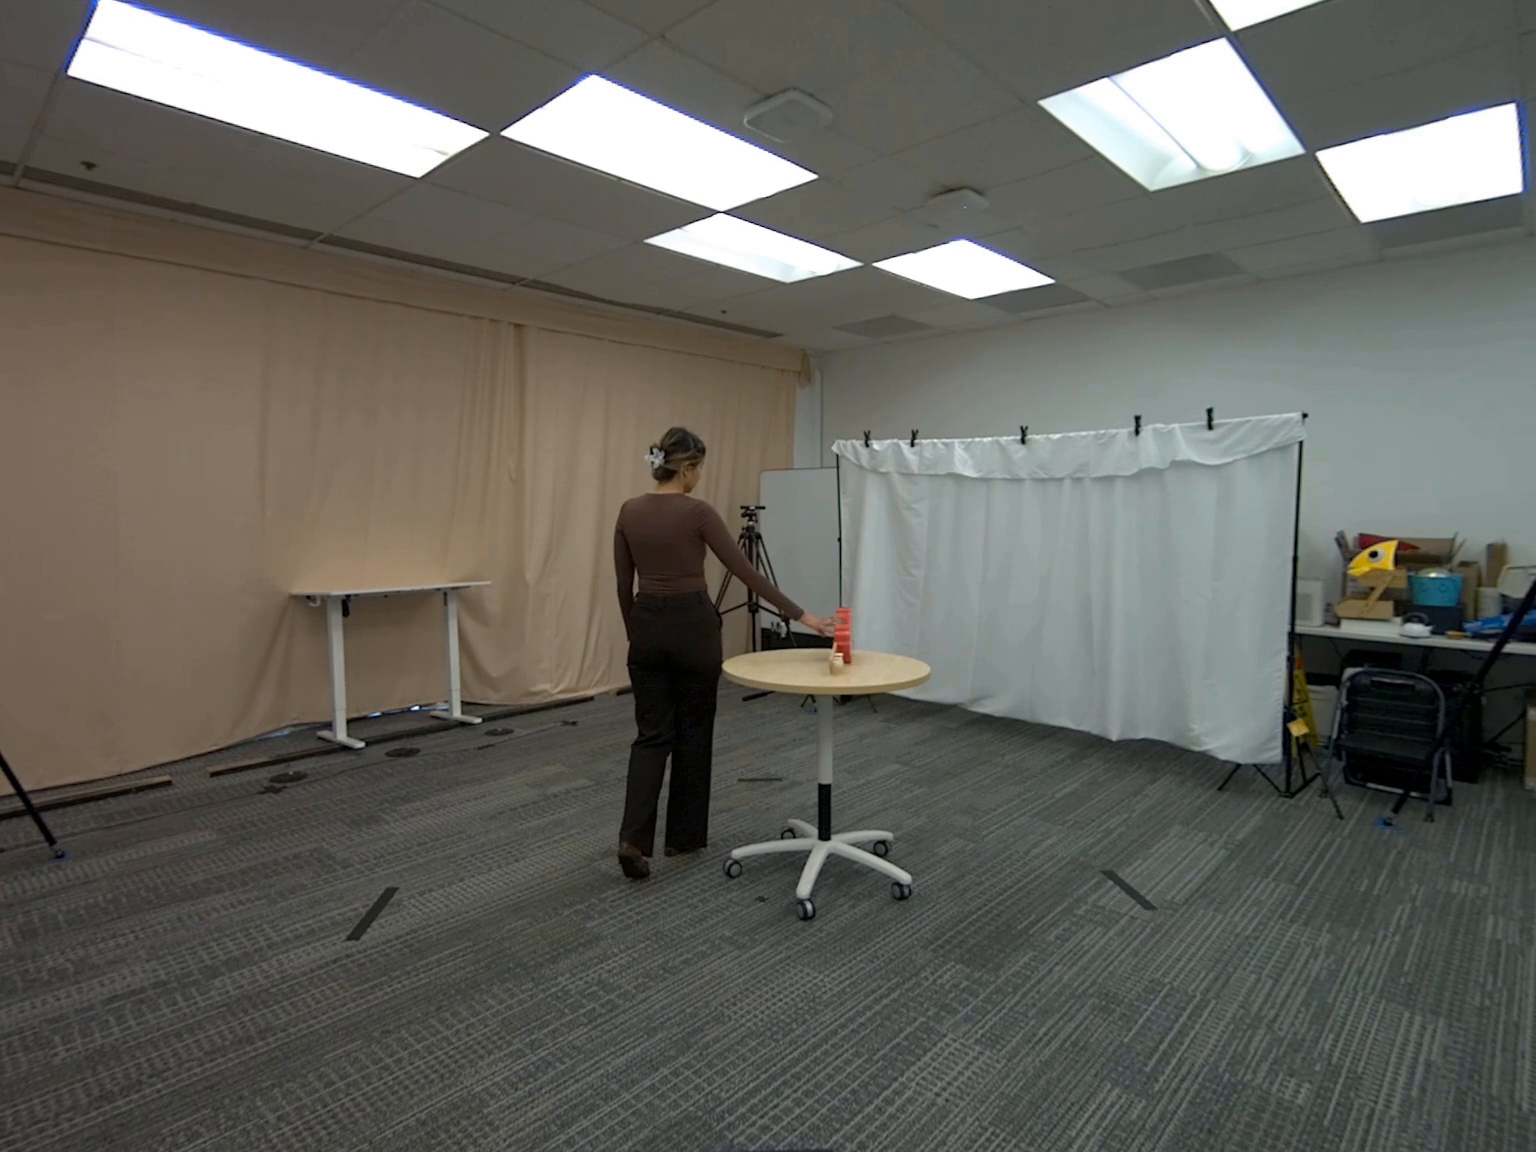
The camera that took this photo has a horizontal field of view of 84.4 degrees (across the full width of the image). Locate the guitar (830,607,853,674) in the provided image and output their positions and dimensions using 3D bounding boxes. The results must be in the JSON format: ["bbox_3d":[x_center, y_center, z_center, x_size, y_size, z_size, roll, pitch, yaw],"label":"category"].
[{"bbox_3d":[0.279,0.290,3.157,0.071,0.190,0.499,0,21,8],"label":"guitar"}]
